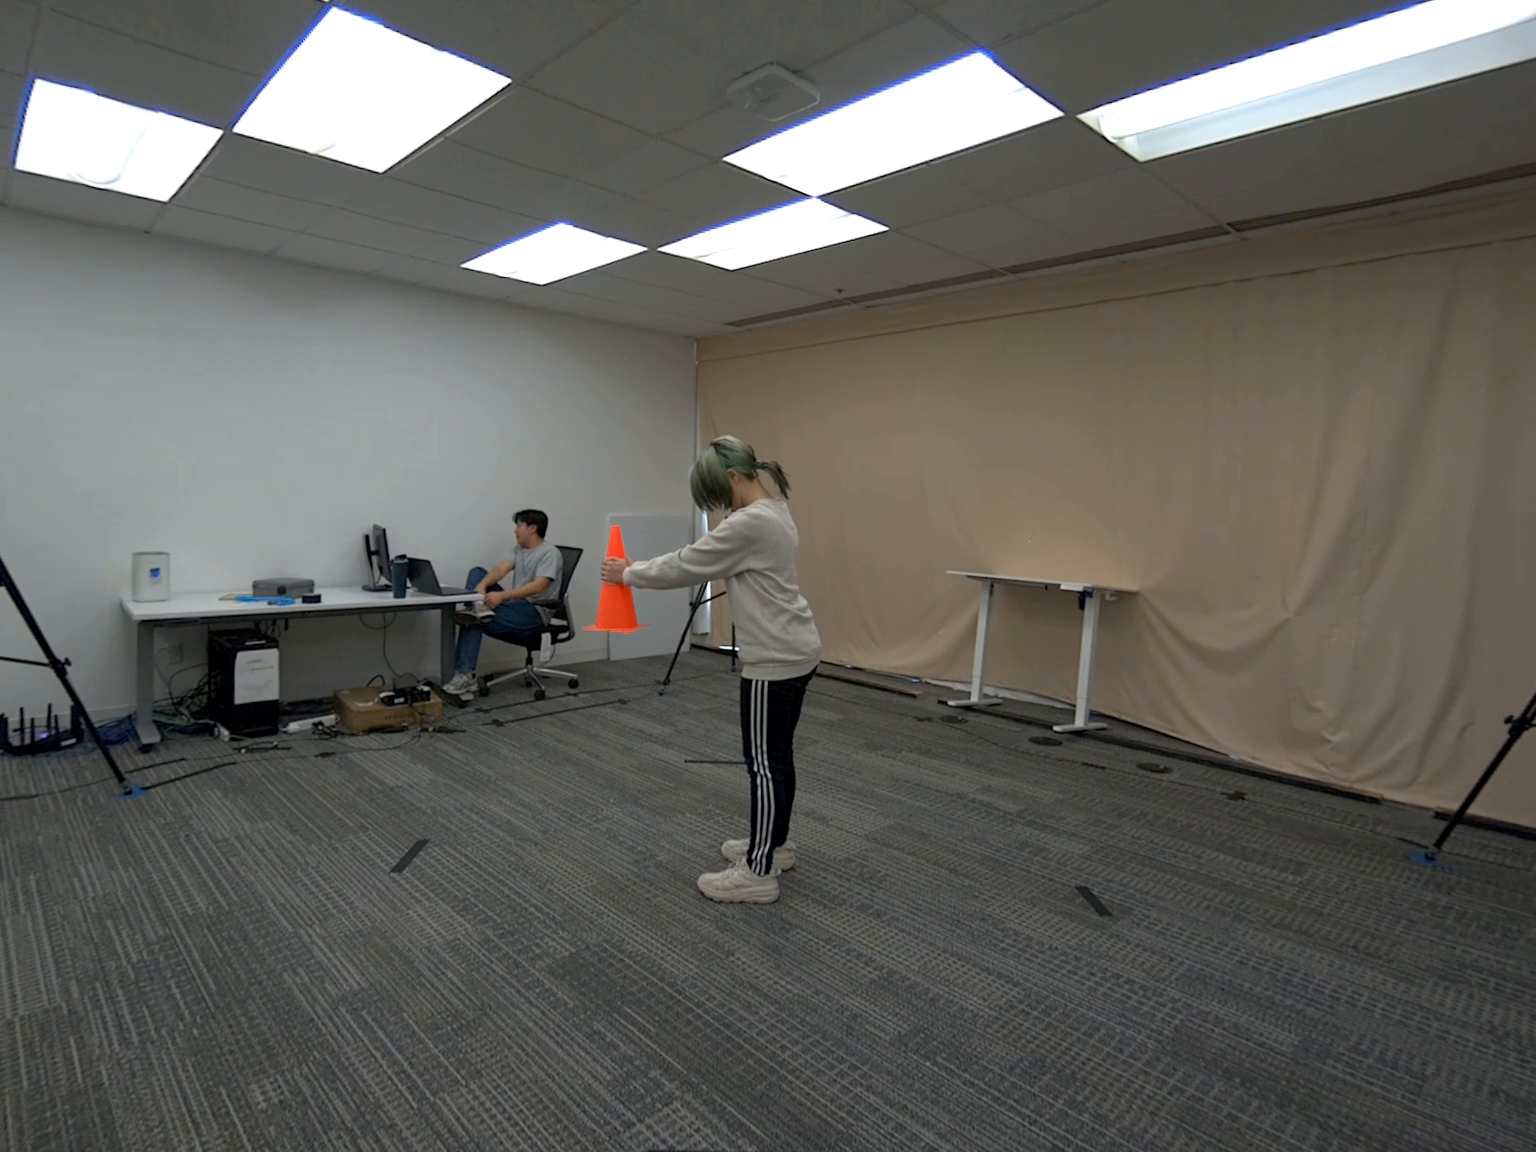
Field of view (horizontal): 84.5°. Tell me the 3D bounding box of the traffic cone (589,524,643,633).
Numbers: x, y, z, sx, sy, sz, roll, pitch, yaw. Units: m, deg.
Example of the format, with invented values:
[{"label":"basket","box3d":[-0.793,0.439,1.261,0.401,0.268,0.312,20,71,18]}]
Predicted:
[{"label":"traffic cone","box3d":[-0.566,0.011,3.149,0.207,0.383,0.201,2,2,23]}]
